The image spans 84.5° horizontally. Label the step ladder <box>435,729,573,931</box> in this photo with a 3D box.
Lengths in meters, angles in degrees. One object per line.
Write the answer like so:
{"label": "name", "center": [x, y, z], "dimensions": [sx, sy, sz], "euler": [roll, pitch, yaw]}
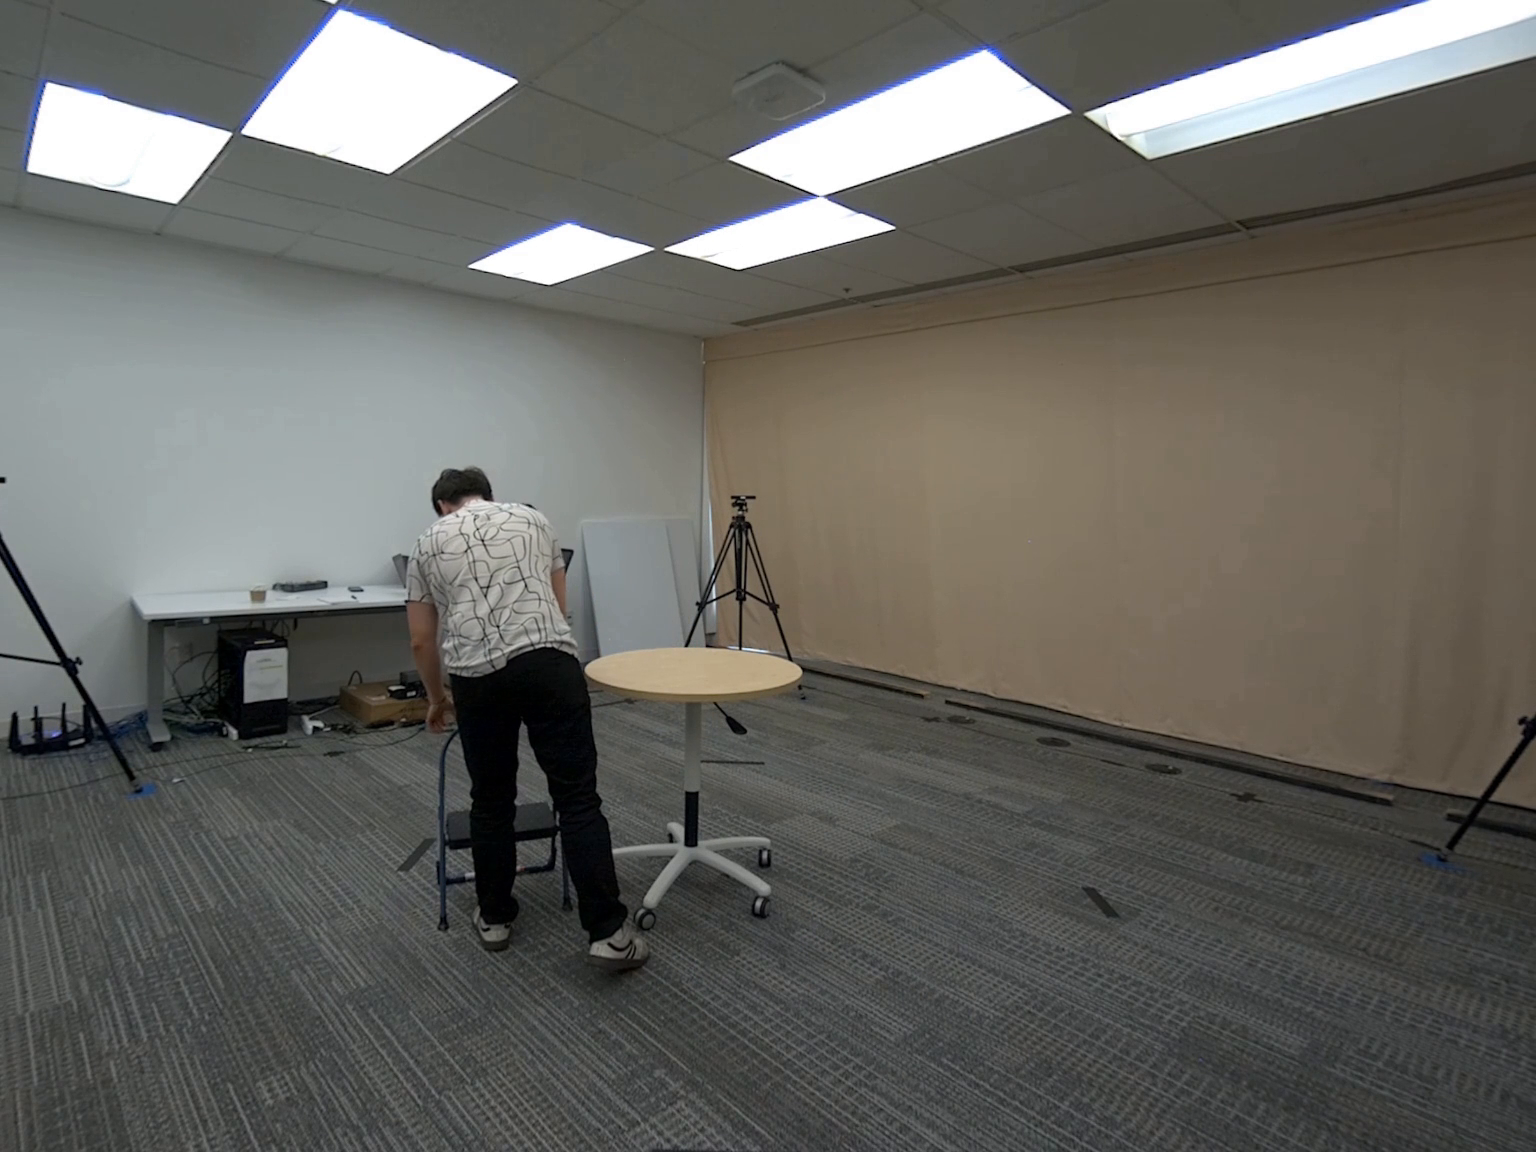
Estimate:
{"label": "step ladder", "center": [-0.916, 0.807, 2.880], "dimensions": [0.423, 0.604, 0.356], "euler": [-1, 4, -23]}
